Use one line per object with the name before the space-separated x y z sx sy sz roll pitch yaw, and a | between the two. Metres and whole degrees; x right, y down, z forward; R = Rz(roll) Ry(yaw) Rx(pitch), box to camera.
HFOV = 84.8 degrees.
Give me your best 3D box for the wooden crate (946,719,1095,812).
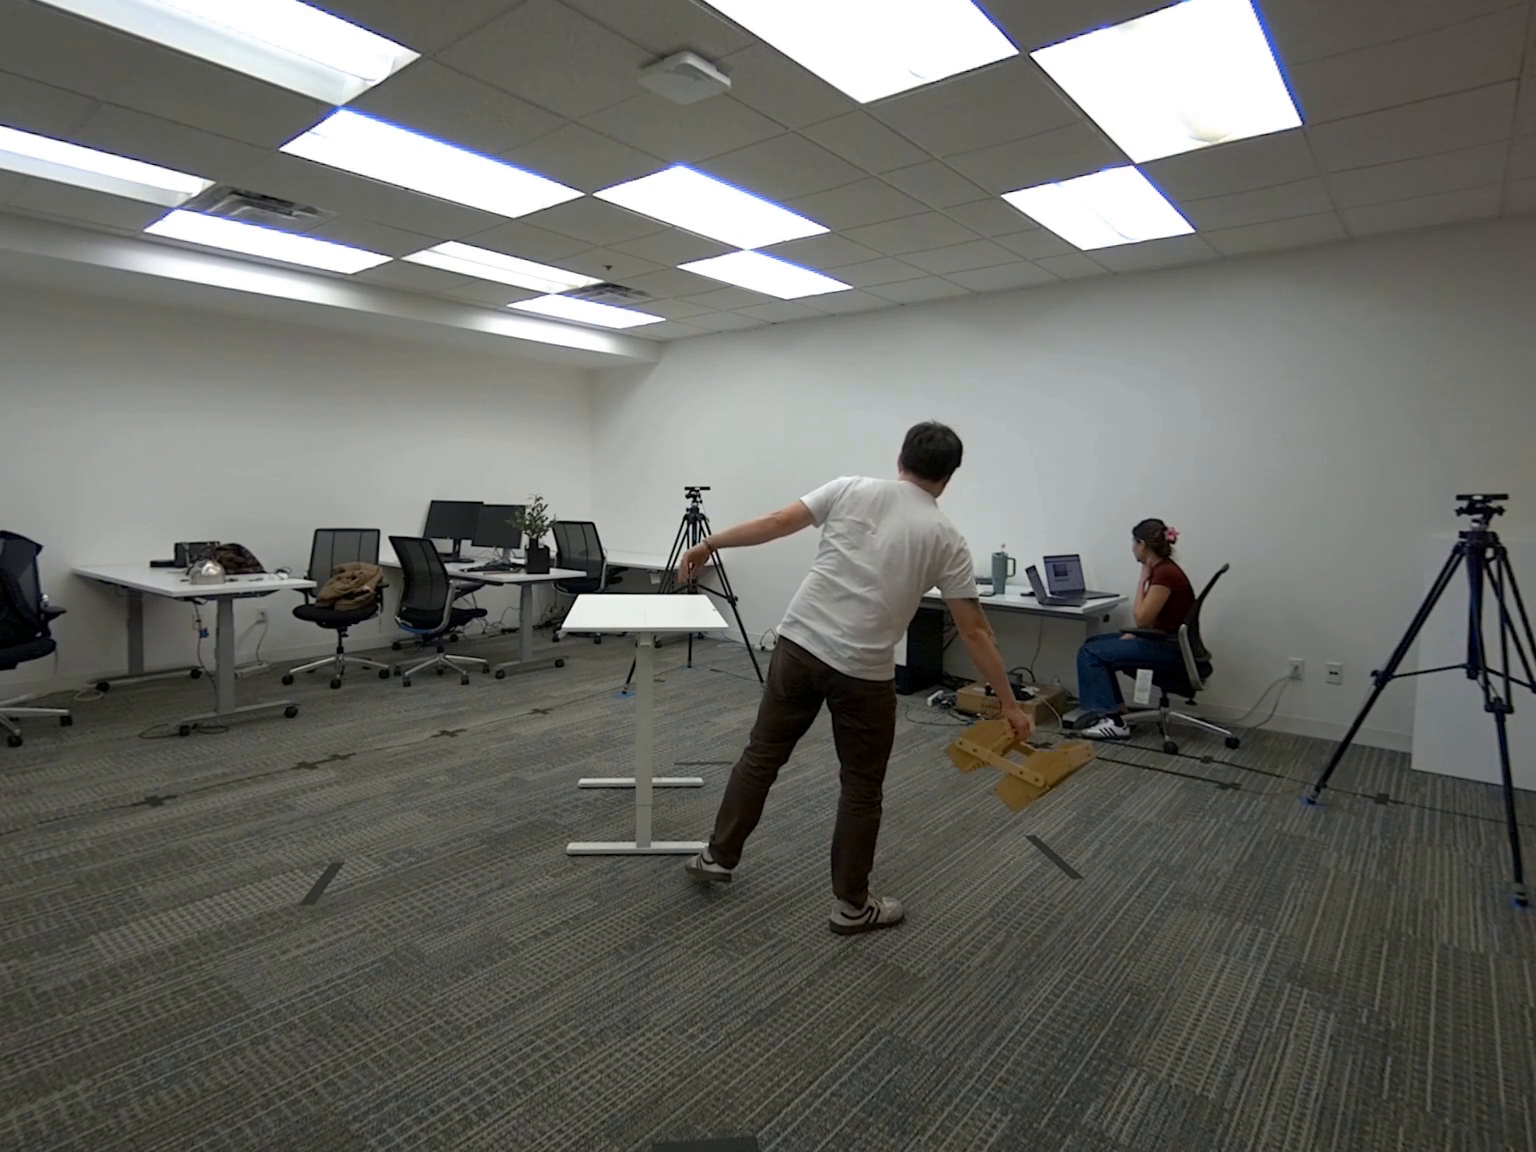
wooden crate | 0.788 0.537 2.638 0.313 0.302 0.283 9 39 -56
